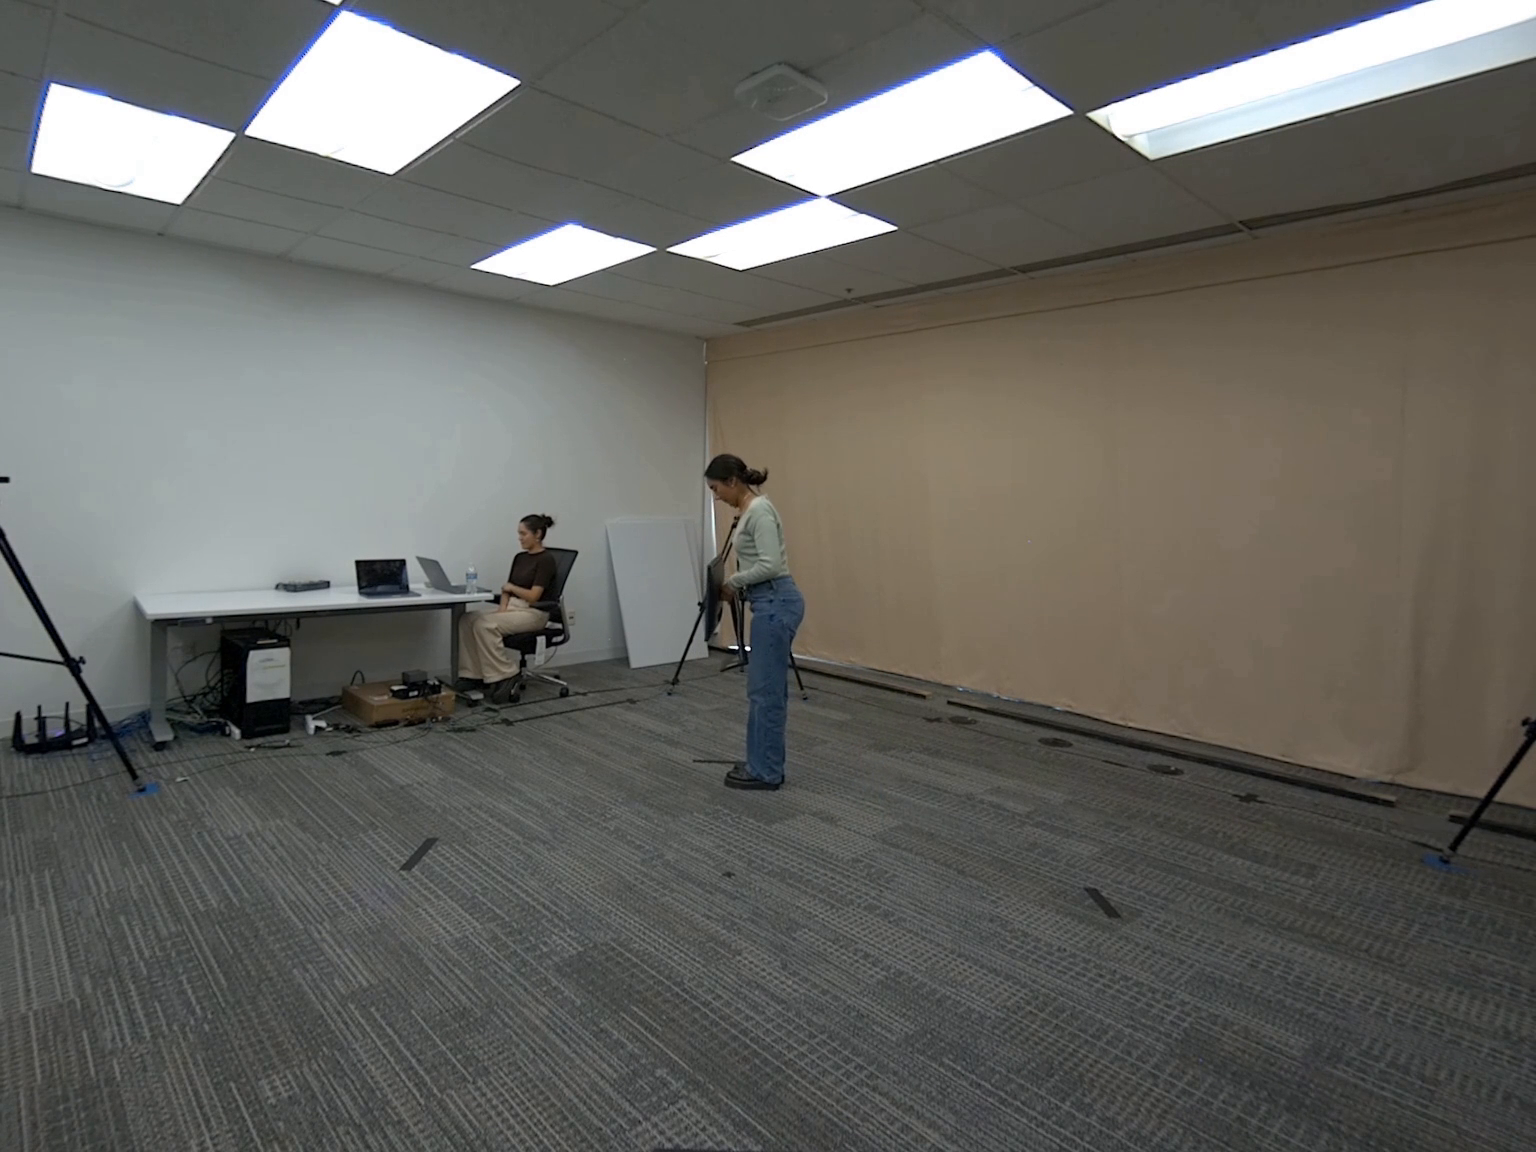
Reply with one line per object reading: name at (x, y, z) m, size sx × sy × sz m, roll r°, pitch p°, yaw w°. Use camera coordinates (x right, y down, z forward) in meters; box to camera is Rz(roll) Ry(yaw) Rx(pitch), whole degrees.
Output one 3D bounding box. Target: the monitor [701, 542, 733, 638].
monitor at (-0.215, 0.174, 4.076) m, size 0.175 × 0.514 × 0.531 m, roll -16°, pitch 6°, yaw 4°
